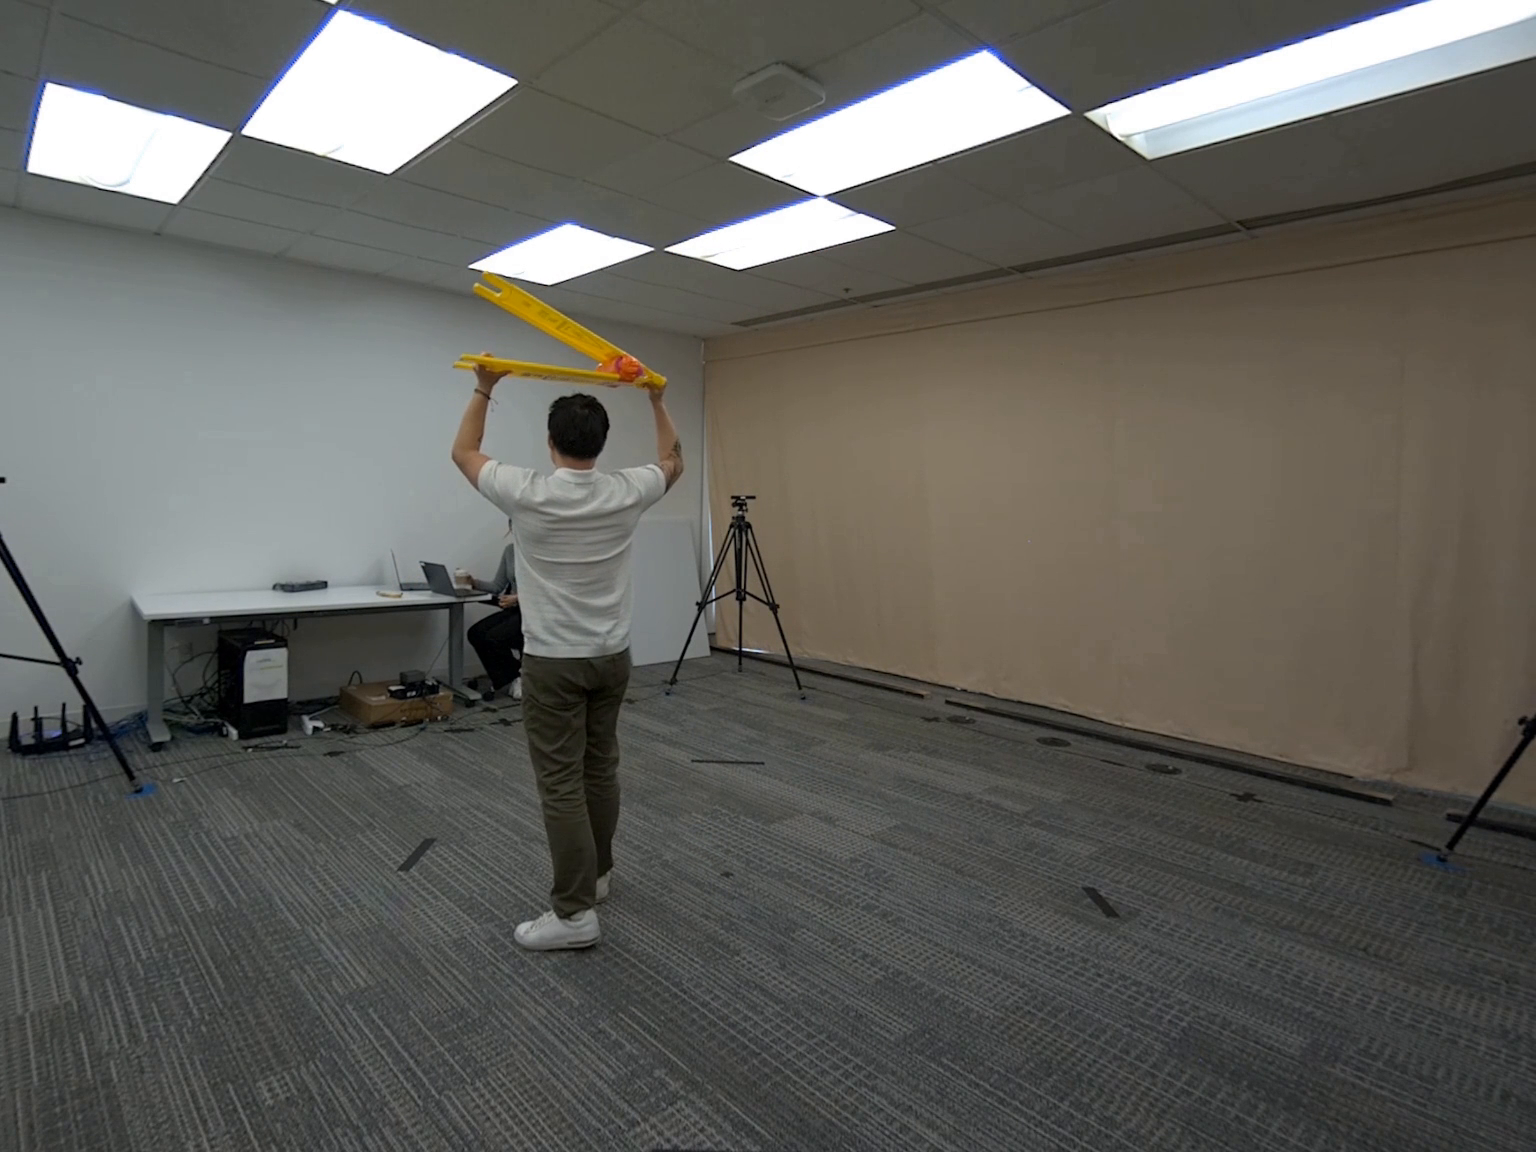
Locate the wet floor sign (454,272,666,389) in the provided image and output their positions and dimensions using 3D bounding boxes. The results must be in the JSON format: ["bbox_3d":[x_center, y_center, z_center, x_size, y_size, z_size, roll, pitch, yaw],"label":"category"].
[{"bbox_3d":[-0.664,-0.724,2.758,0.633,0.290,0.288,15,-1,-23],"label":"wet floor sign"}]
